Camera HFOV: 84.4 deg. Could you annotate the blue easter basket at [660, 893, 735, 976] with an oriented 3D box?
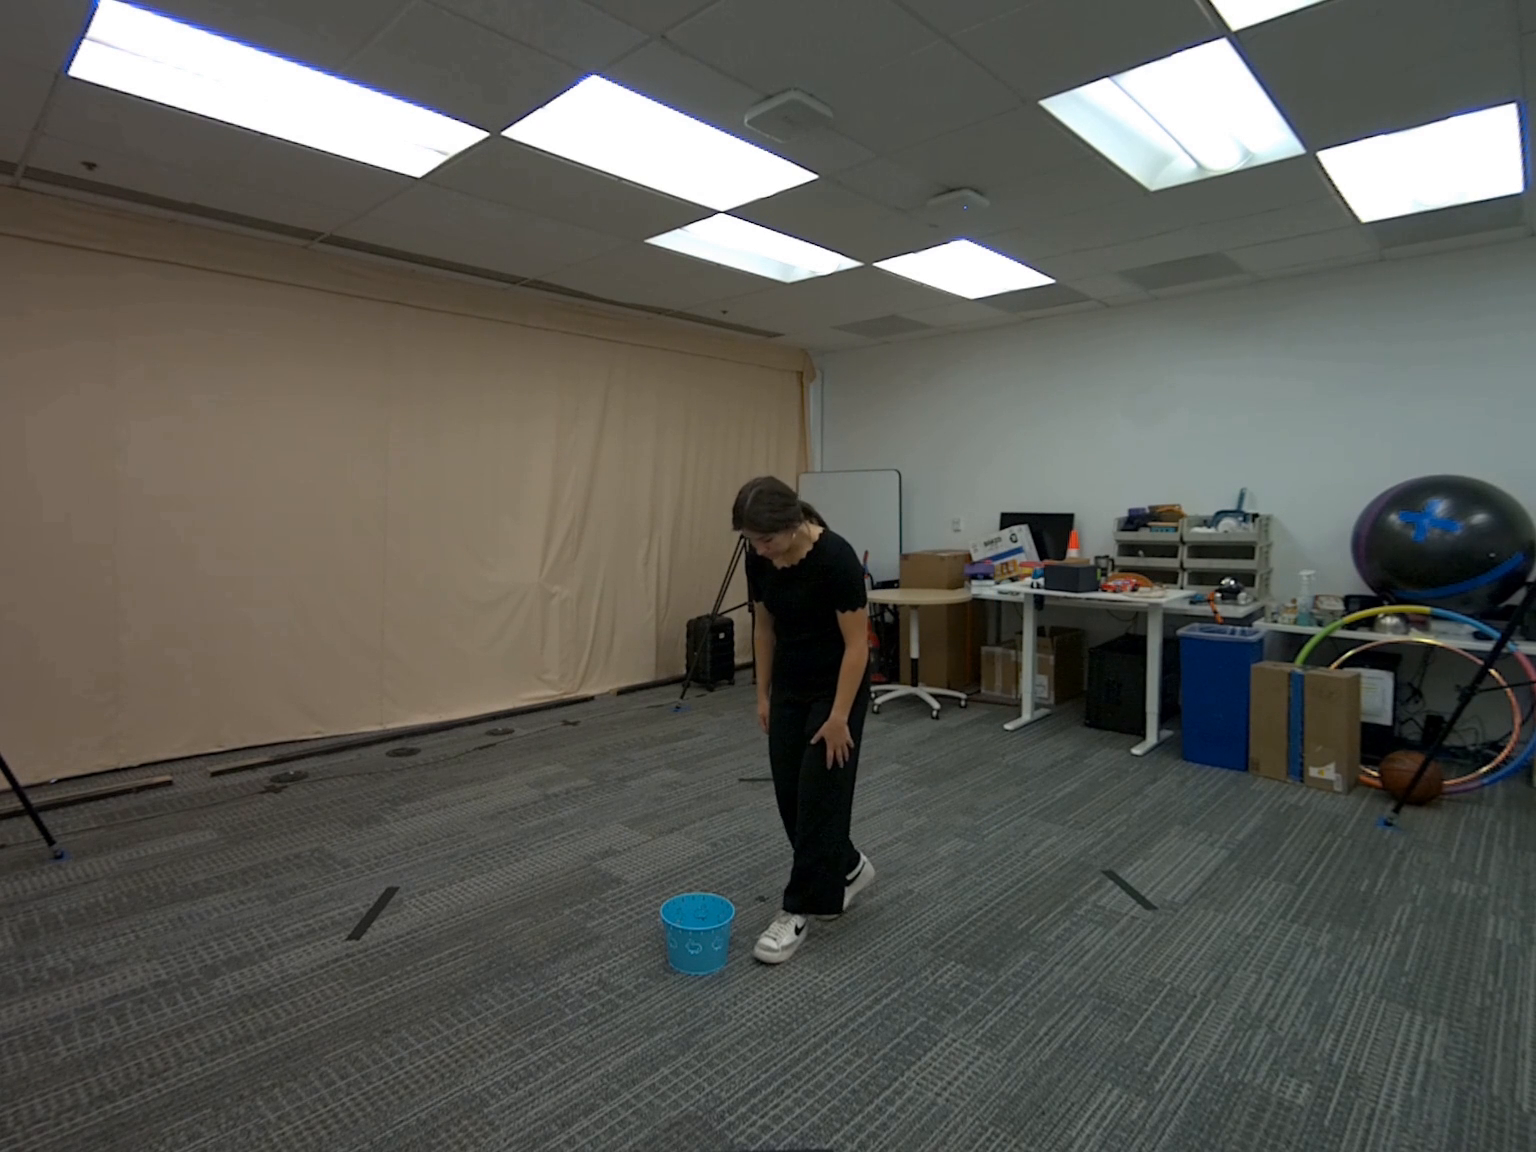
[{"bbox_3d":[-0.218,1.103,2.589,0.243,0.155,0.244,0,5,-2],"label":"blue easter basket"}]
